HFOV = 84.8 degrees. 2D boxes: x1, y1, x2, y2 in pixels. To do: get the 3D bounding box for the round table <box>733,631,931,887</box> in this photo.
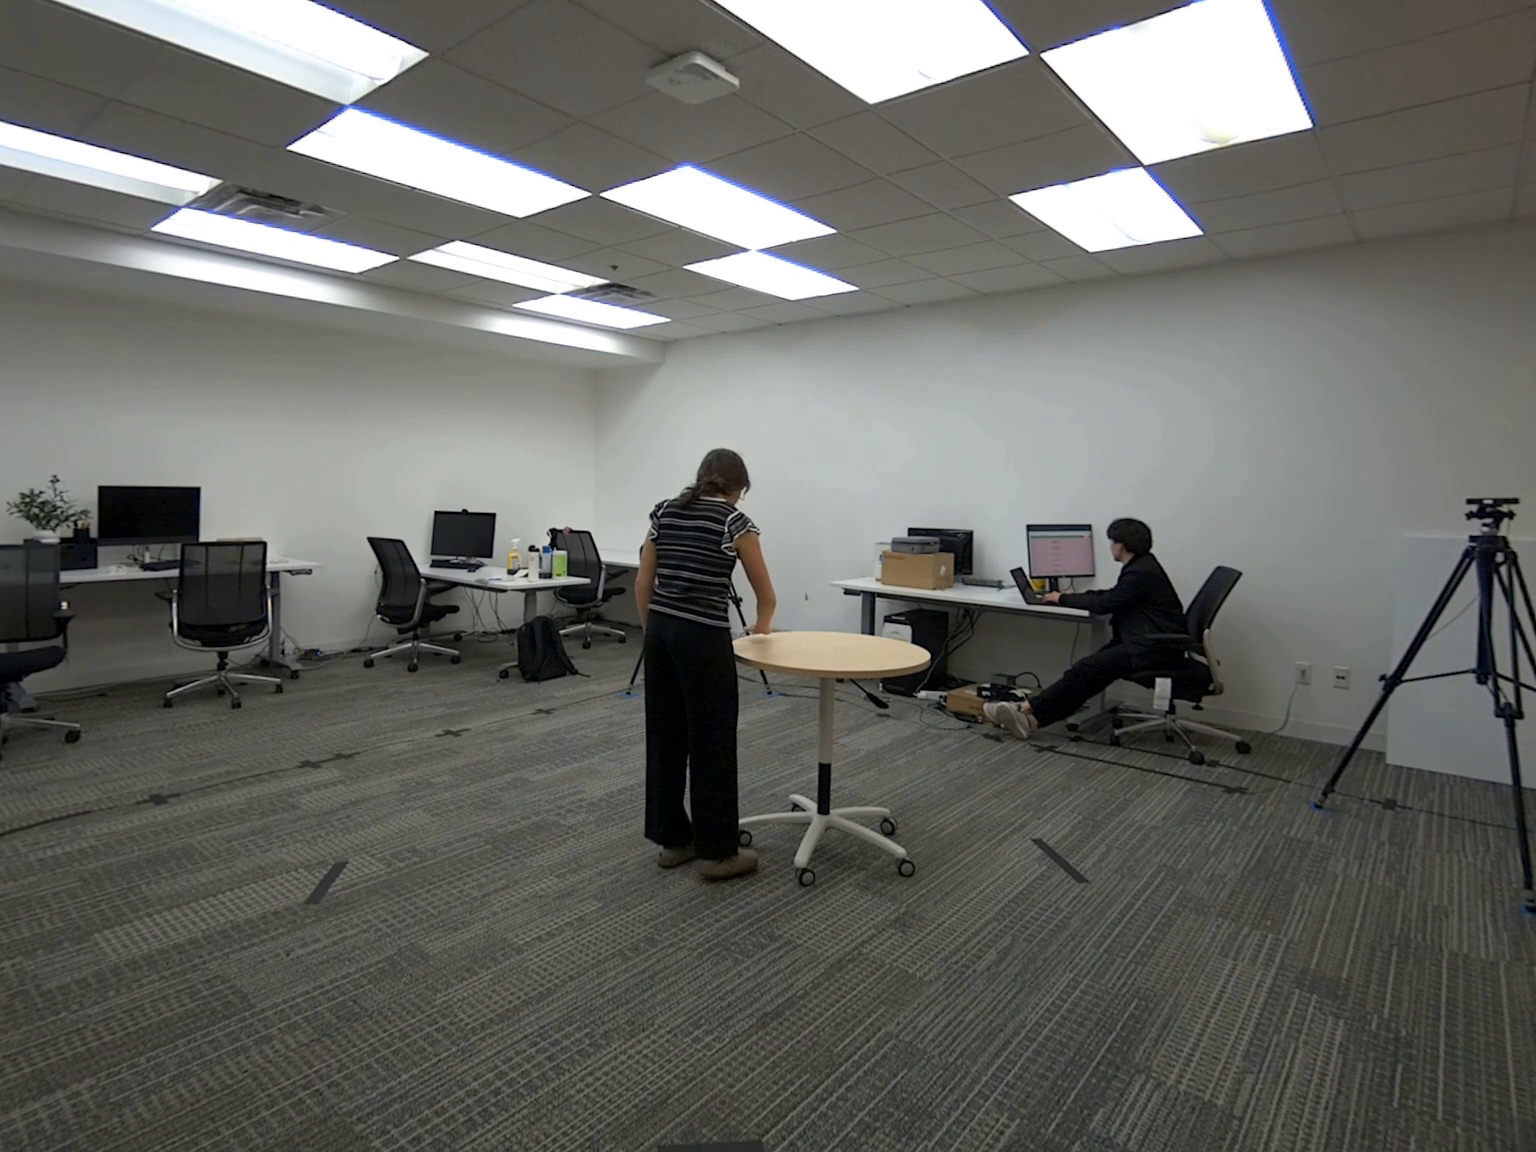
[{"bbox_3d":[0.216,0.670,3.293,0.763,0.791,0.768,1,5,-2],"label":"round table"}]
